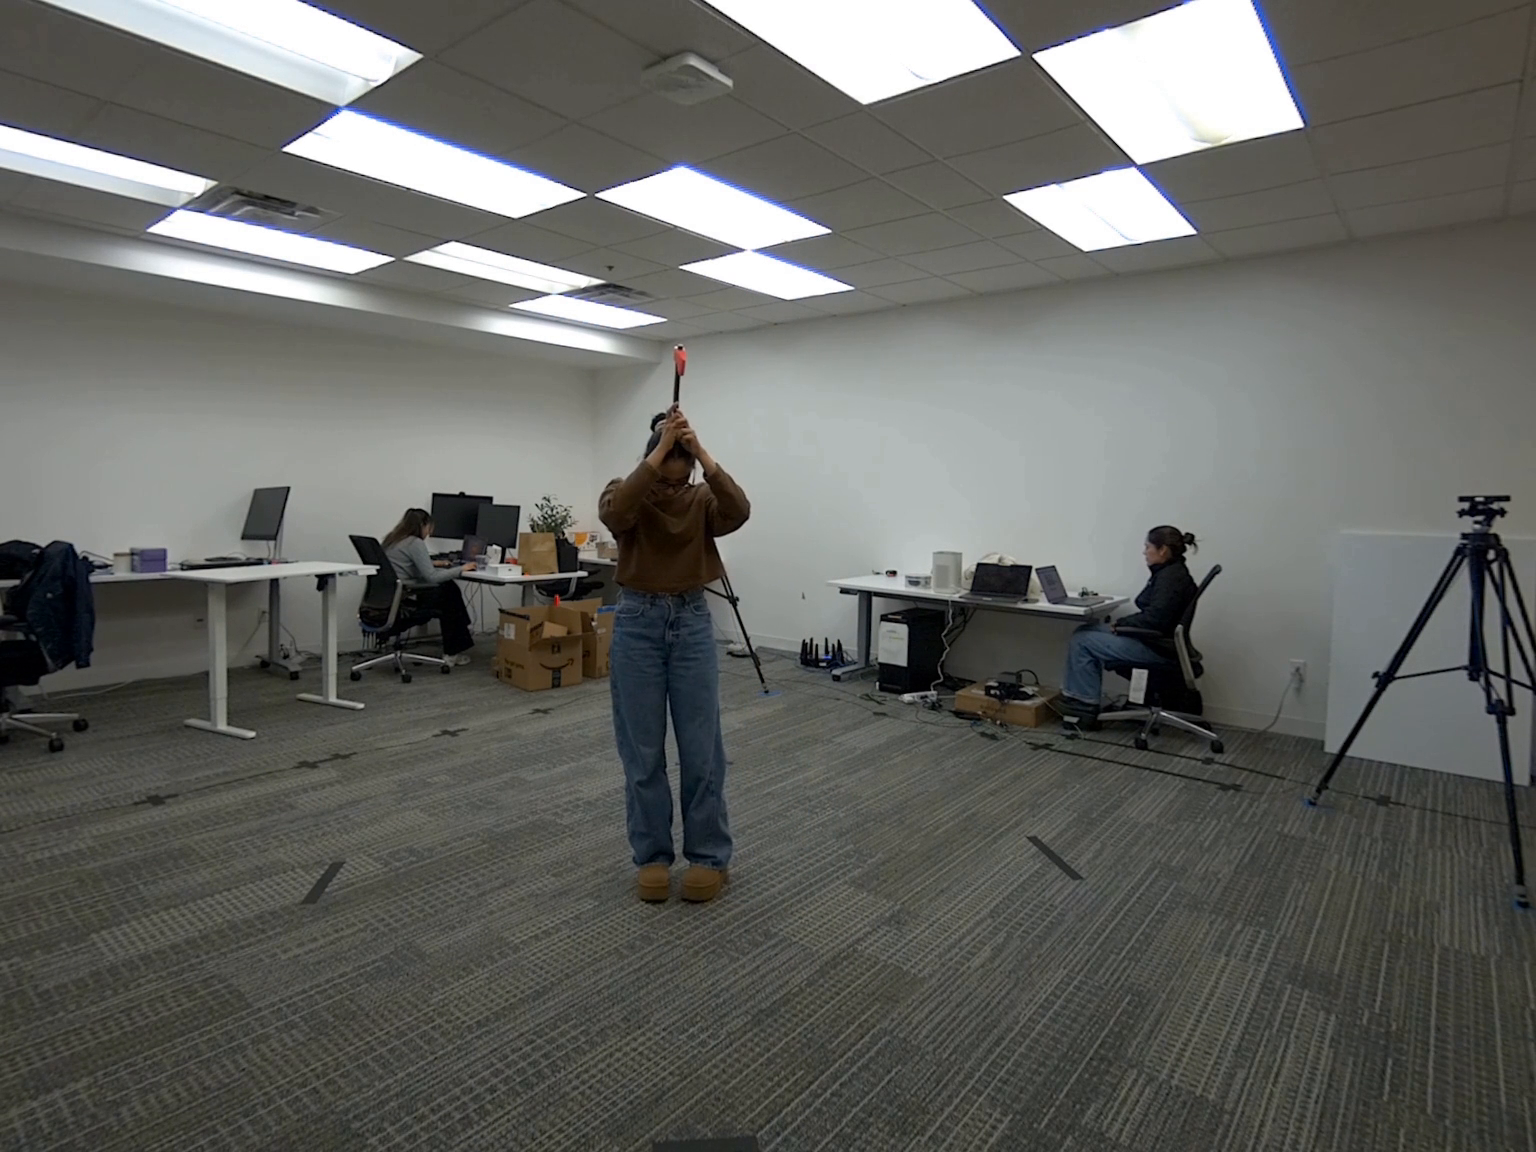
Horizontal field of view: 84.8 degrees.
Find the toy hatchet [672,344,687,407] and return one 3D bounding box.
[{"bbox_3d":[-0.284,-0.592,2.660,0.029,0.267,0.135,-2,14,-22],"label":"toy hatchet"}]
